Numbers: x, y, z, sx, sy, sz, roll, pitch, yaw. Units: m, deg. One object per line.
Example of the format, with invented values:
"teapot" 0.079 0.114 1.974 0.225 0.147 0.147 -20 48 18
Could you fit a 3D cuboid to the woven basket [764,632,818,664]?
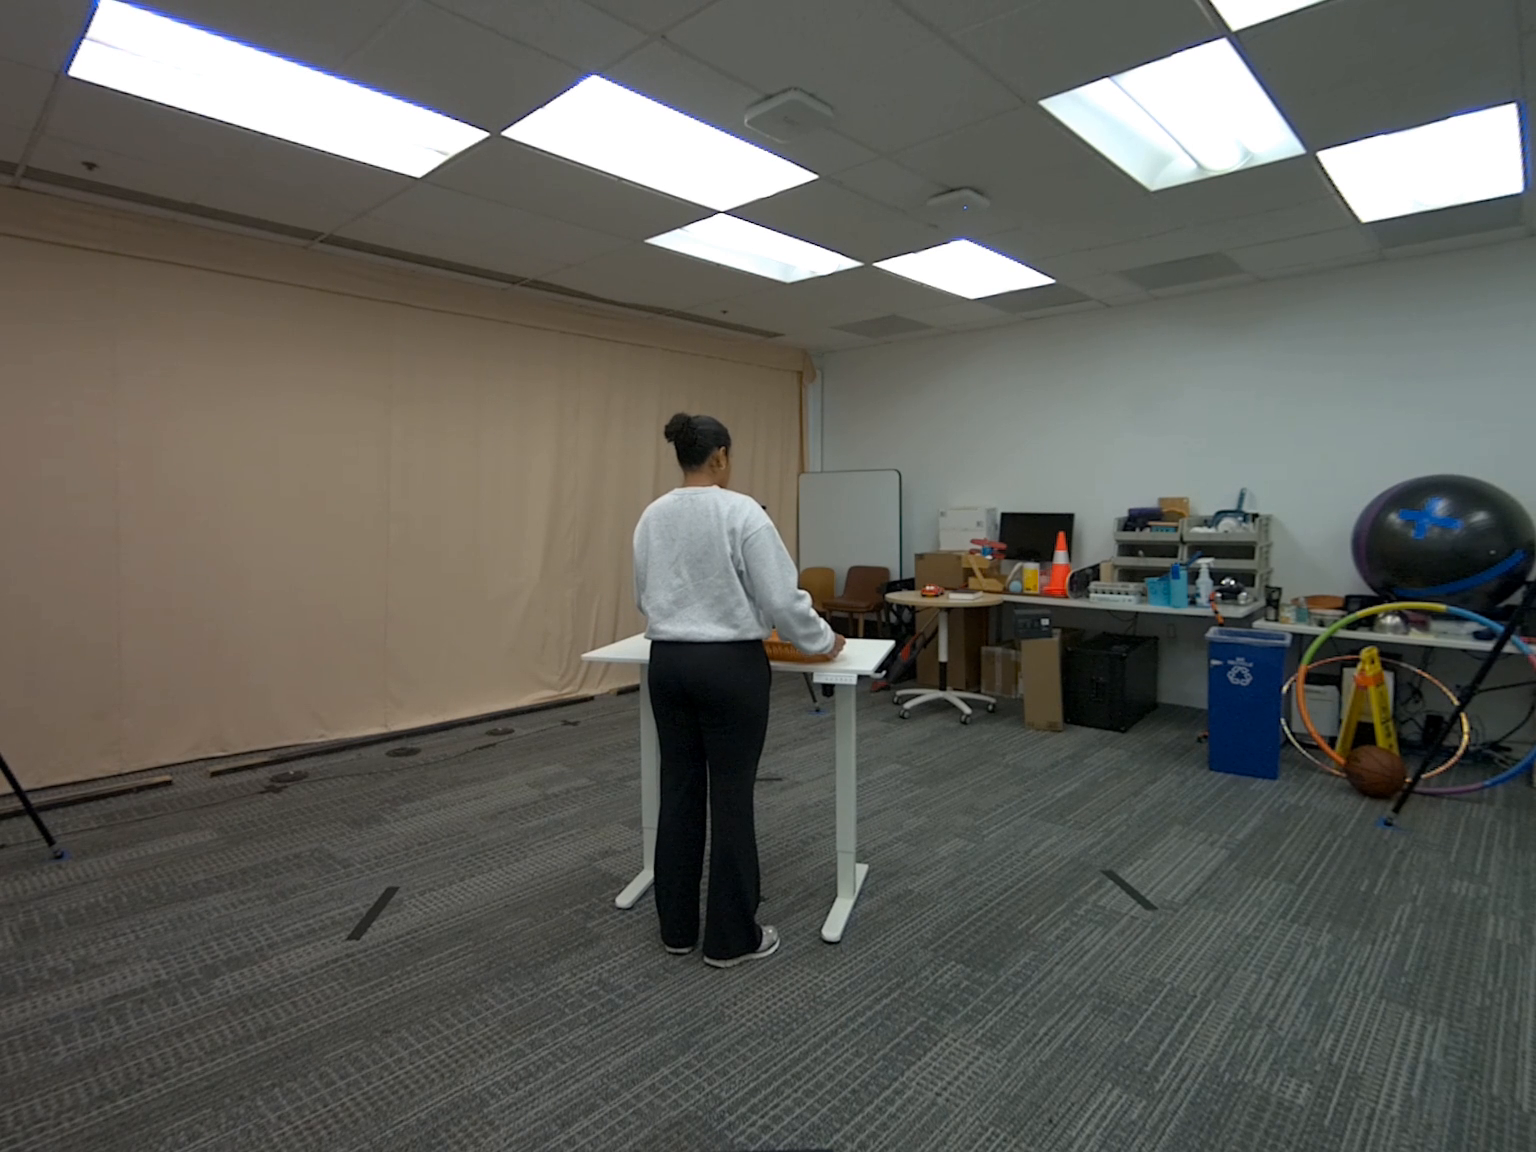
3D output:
"woven basket" 0.076 0.227 2.816 0.362 0.073 0.245 3 8 37
